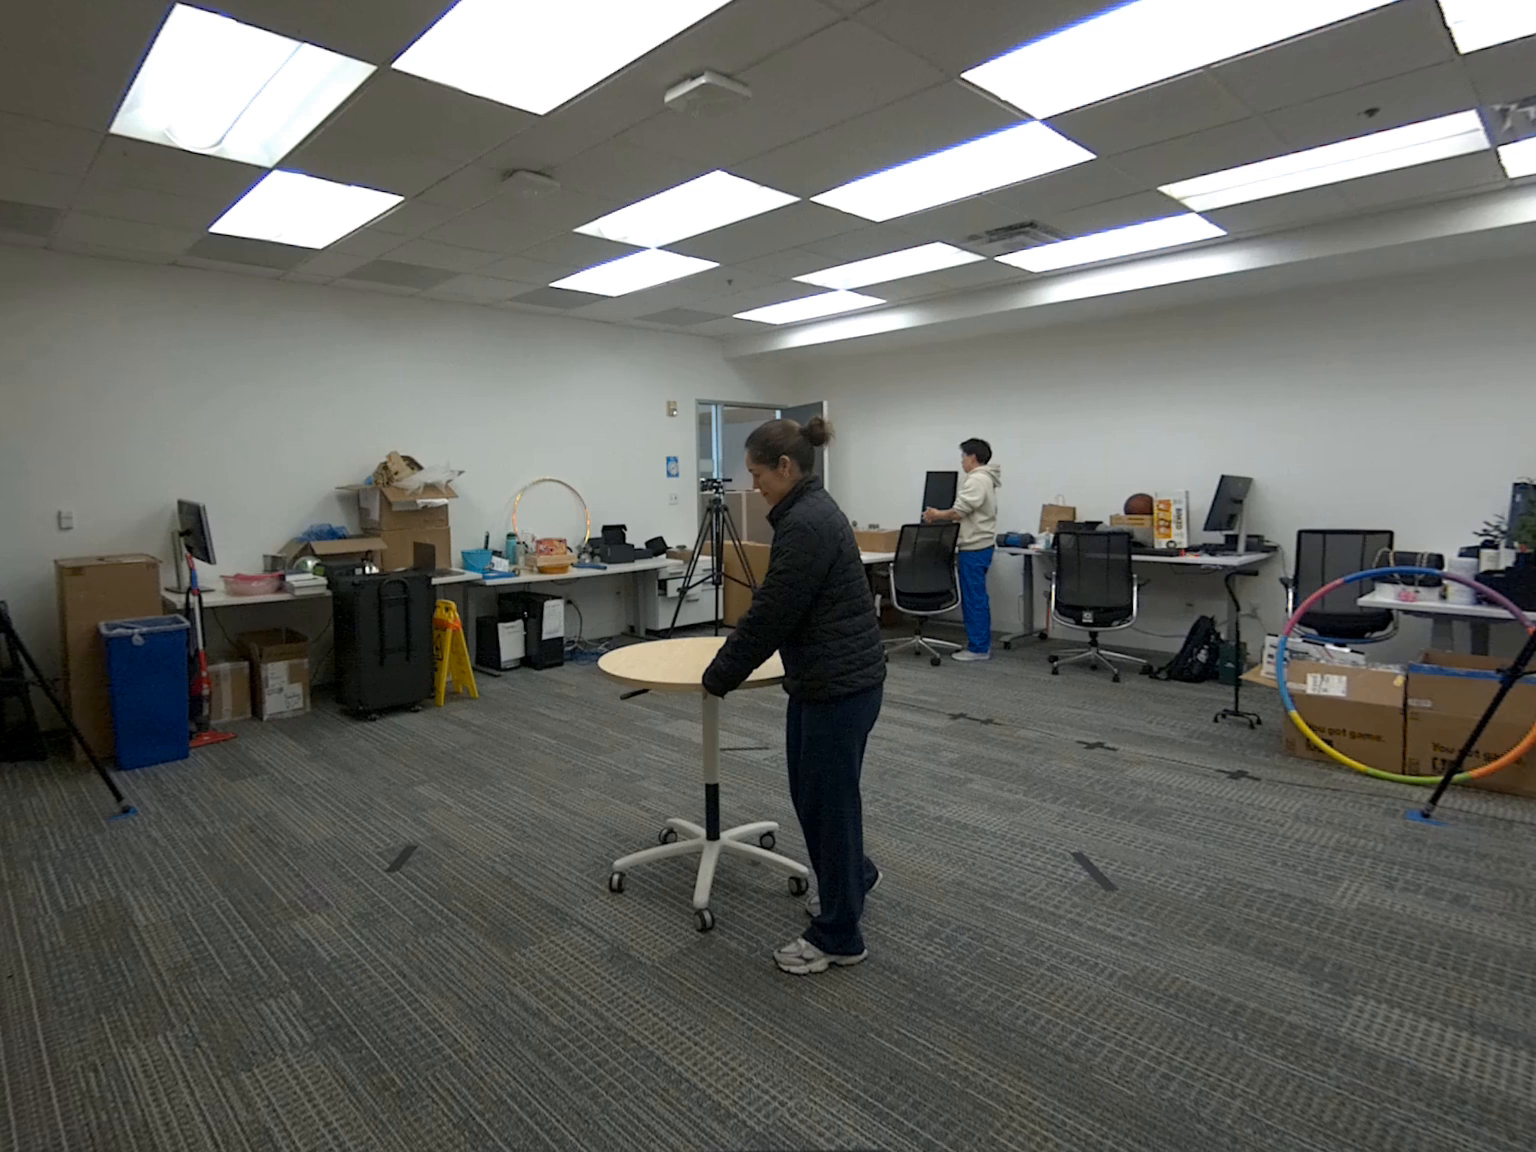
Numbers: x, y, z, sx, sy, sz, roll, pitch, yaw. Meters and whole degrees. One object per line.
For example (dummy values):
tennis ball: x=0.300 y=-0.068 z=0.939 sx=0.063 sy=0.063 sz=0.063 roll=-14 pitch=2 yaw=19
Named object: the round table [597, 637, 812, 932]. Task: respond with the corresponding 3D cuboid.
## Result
round table: x=-0.204 y=0.663 z=3.007 sx=0.784 sy=0.783 sz=0.789 roll=-1 pitch=5 yaw=-2
